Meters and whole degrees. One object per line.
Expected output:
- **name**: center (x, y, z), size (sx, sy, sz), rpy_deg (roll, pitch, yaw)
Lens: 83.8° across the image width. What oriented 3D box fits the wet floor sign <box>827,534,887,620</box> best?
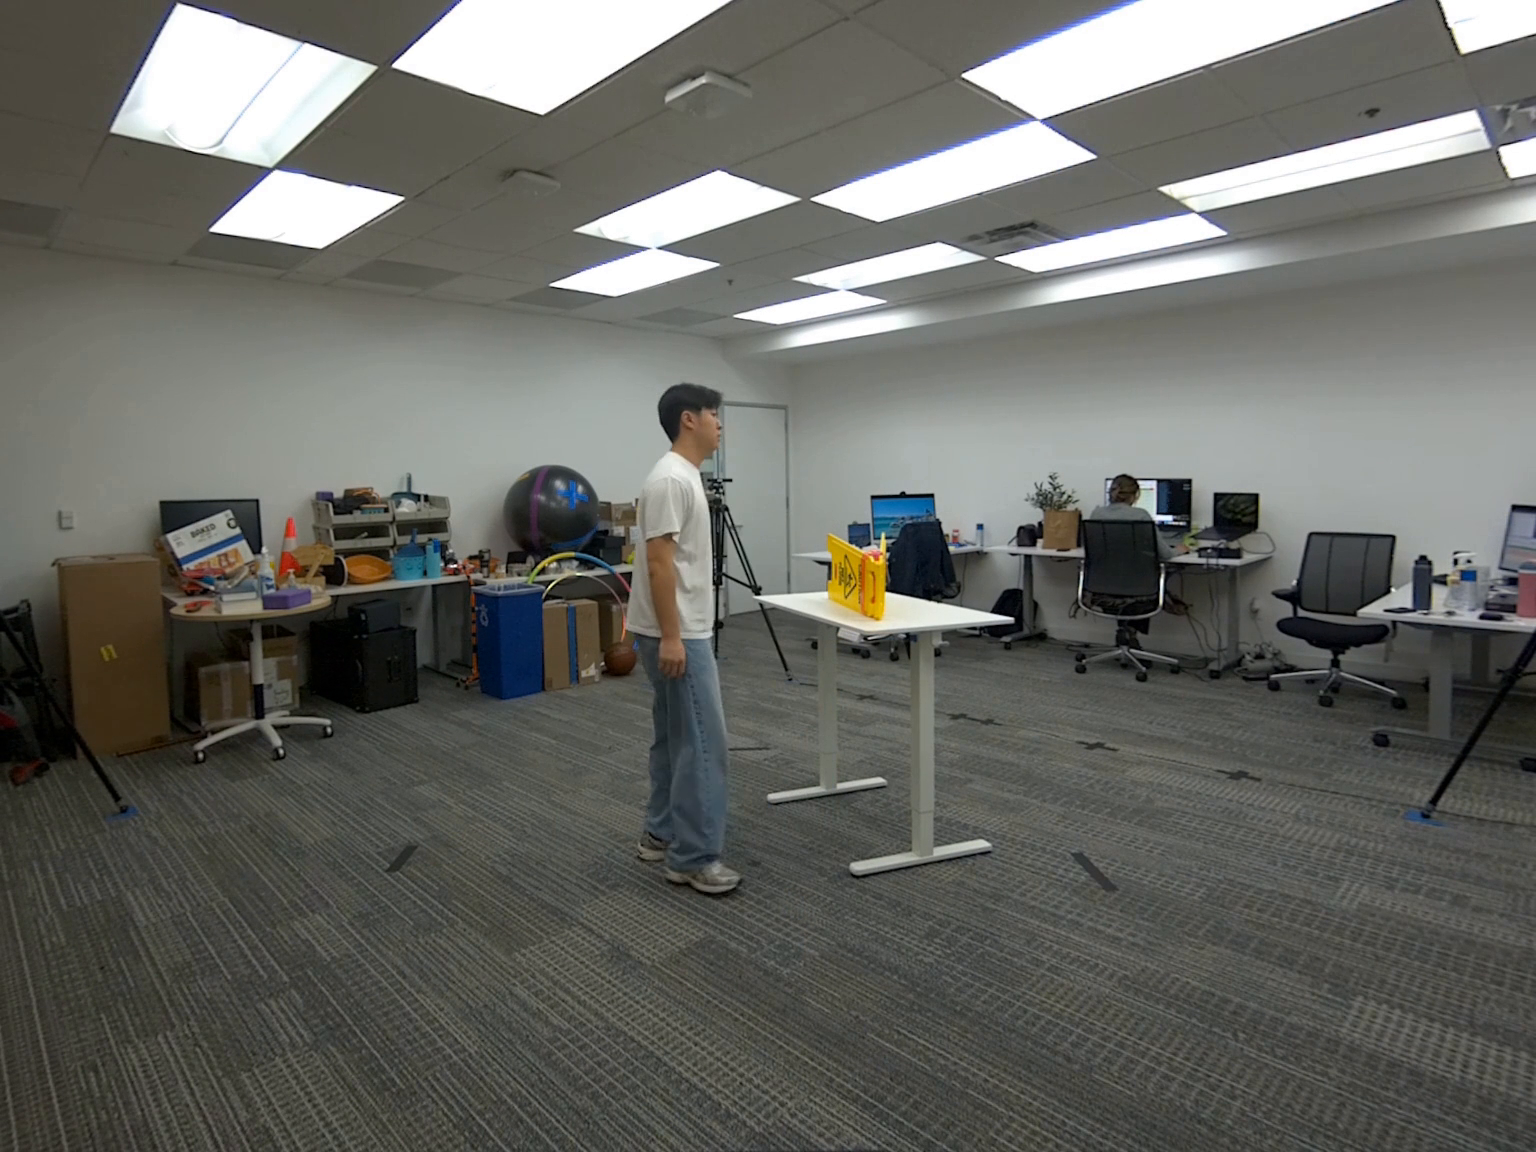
- **wet floor sign**: center (0.389, 0.005, 3.333), size (0.290, 0.280, 0.650), rpy_deg (-1, 8, 0)
